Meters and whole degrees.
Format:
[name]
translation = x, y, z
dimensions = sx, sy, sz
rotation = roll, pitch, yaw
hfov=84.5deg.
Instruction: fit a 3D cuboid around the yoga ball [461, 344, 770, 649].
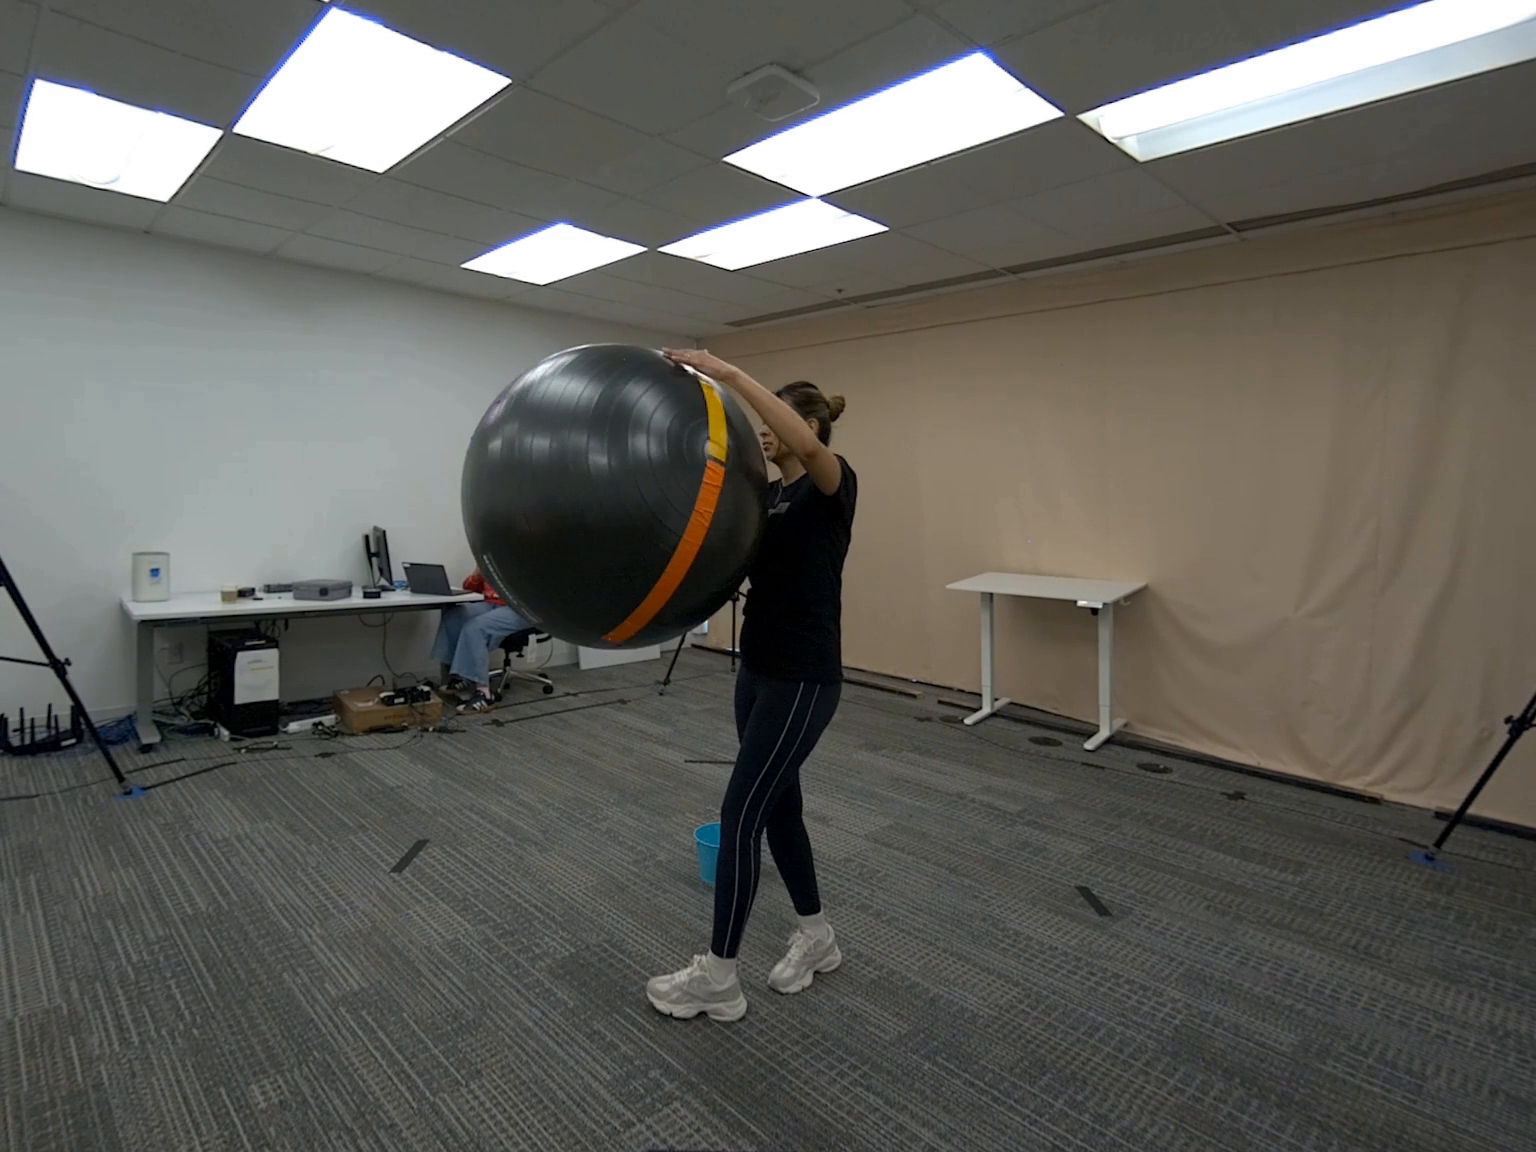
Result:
[yoga ball]
translation = -0.380, -0.190, 2.097
dimensions = 0.757, 0.756, 0.761
rotation = 1, 4, -1
